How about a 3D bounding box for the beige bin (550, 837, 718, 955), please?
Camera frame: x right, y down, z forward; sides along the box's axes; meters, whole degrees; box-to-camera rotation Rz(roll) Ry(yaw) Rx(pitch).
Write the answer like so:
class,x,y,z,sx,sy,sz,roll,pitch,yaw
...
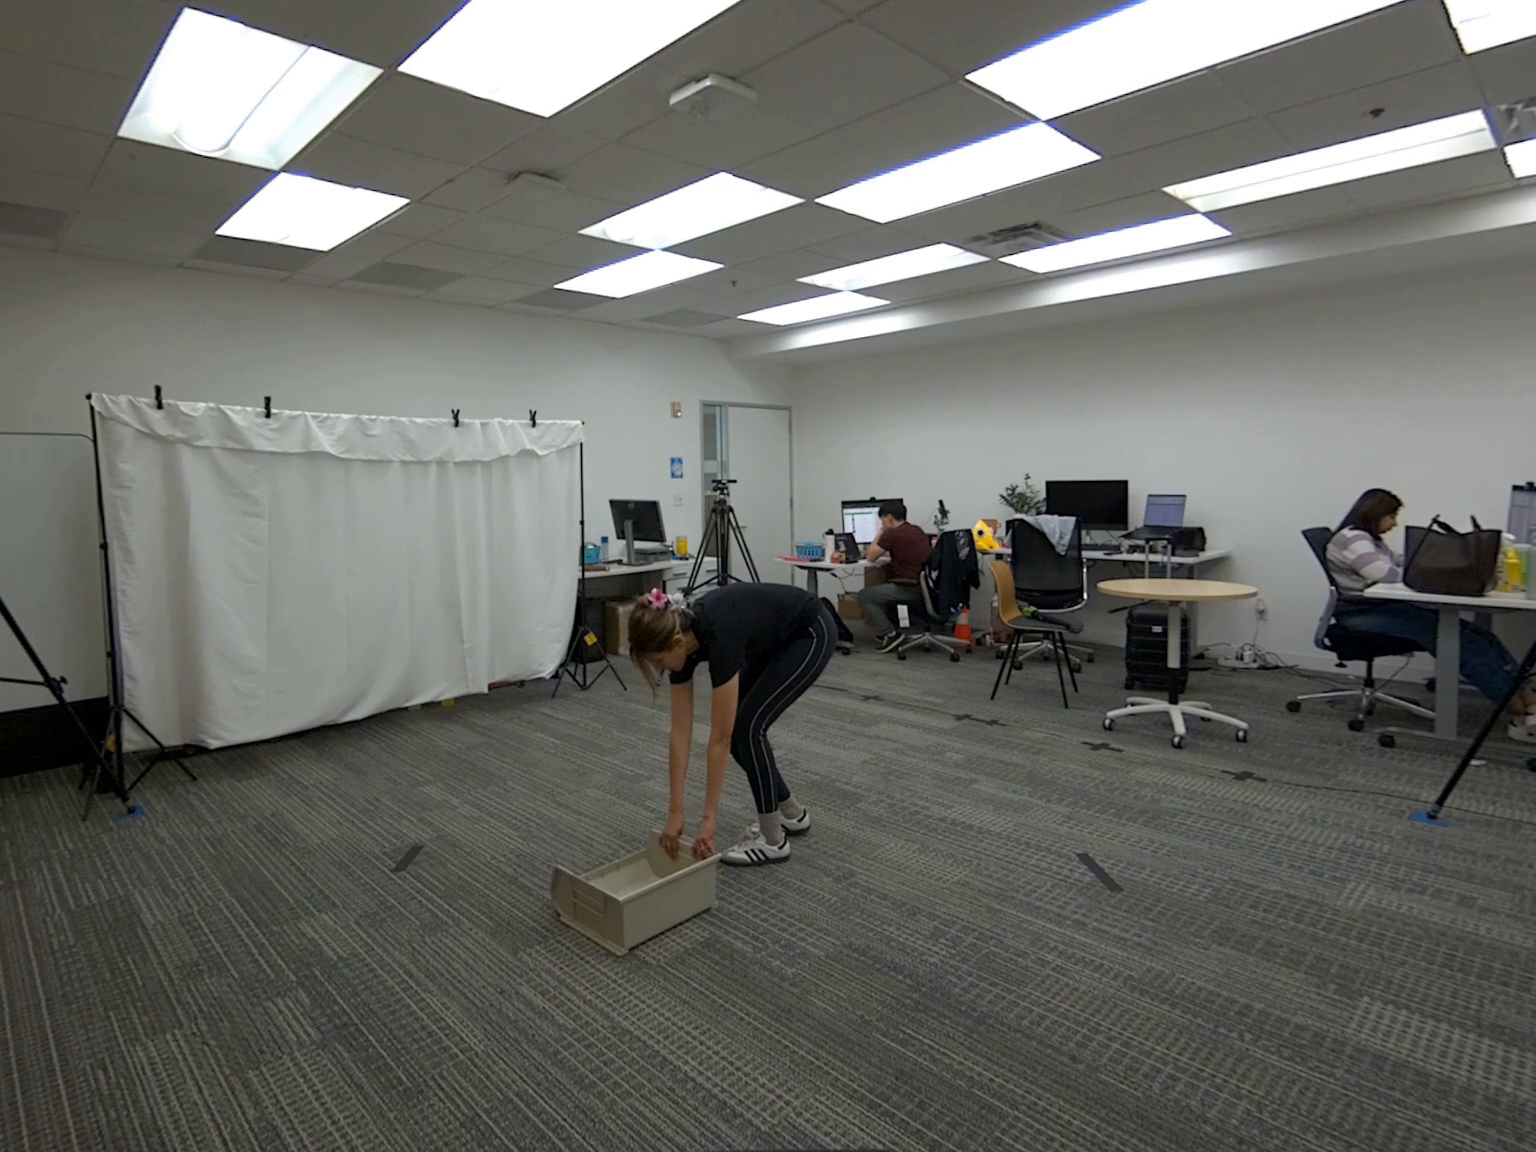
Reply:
class,x,y,z,sx,sy,sz,roll,pitch,yaw
beige bin,-0.430,1.005,2.782,0.389,0.188,0.411,6,8,42
